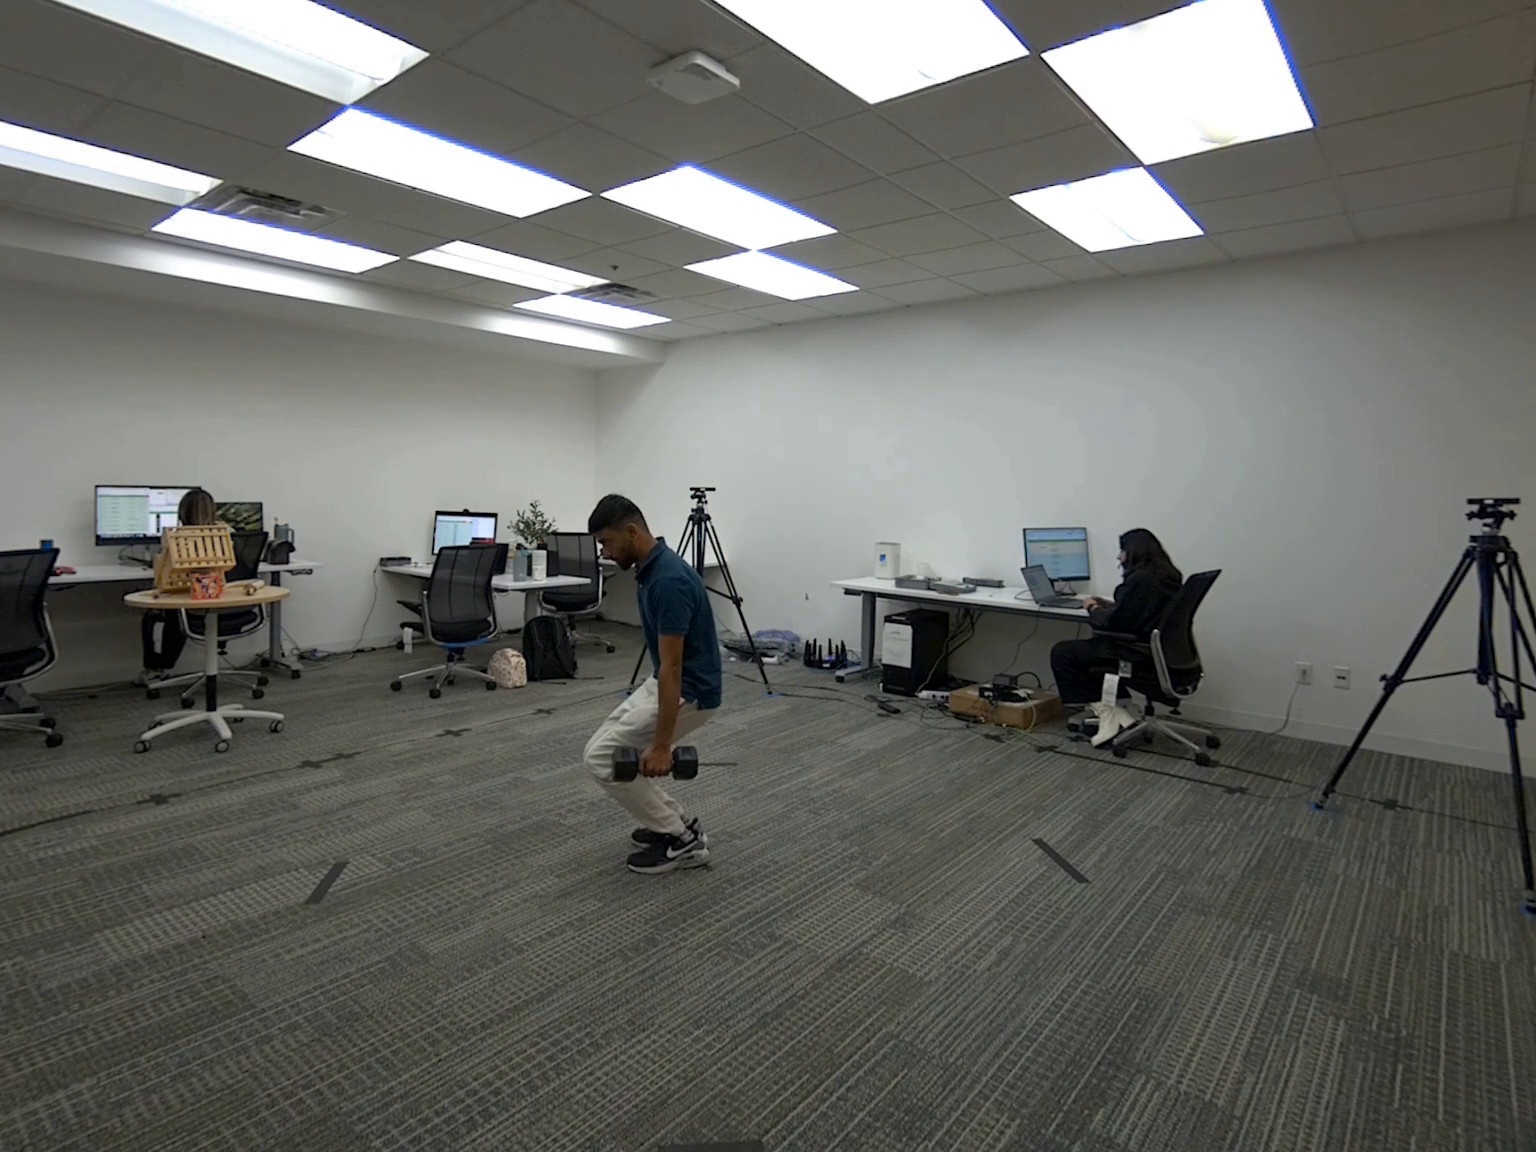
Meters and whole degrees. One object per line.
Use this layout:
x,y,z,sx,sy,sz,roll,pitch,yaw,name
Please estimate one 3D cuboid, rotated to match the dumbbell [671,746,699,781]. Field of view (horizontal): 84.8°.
-0.404,0.645,2.959,0.289,0.122,0.111,1,5,-15,dumbbell
